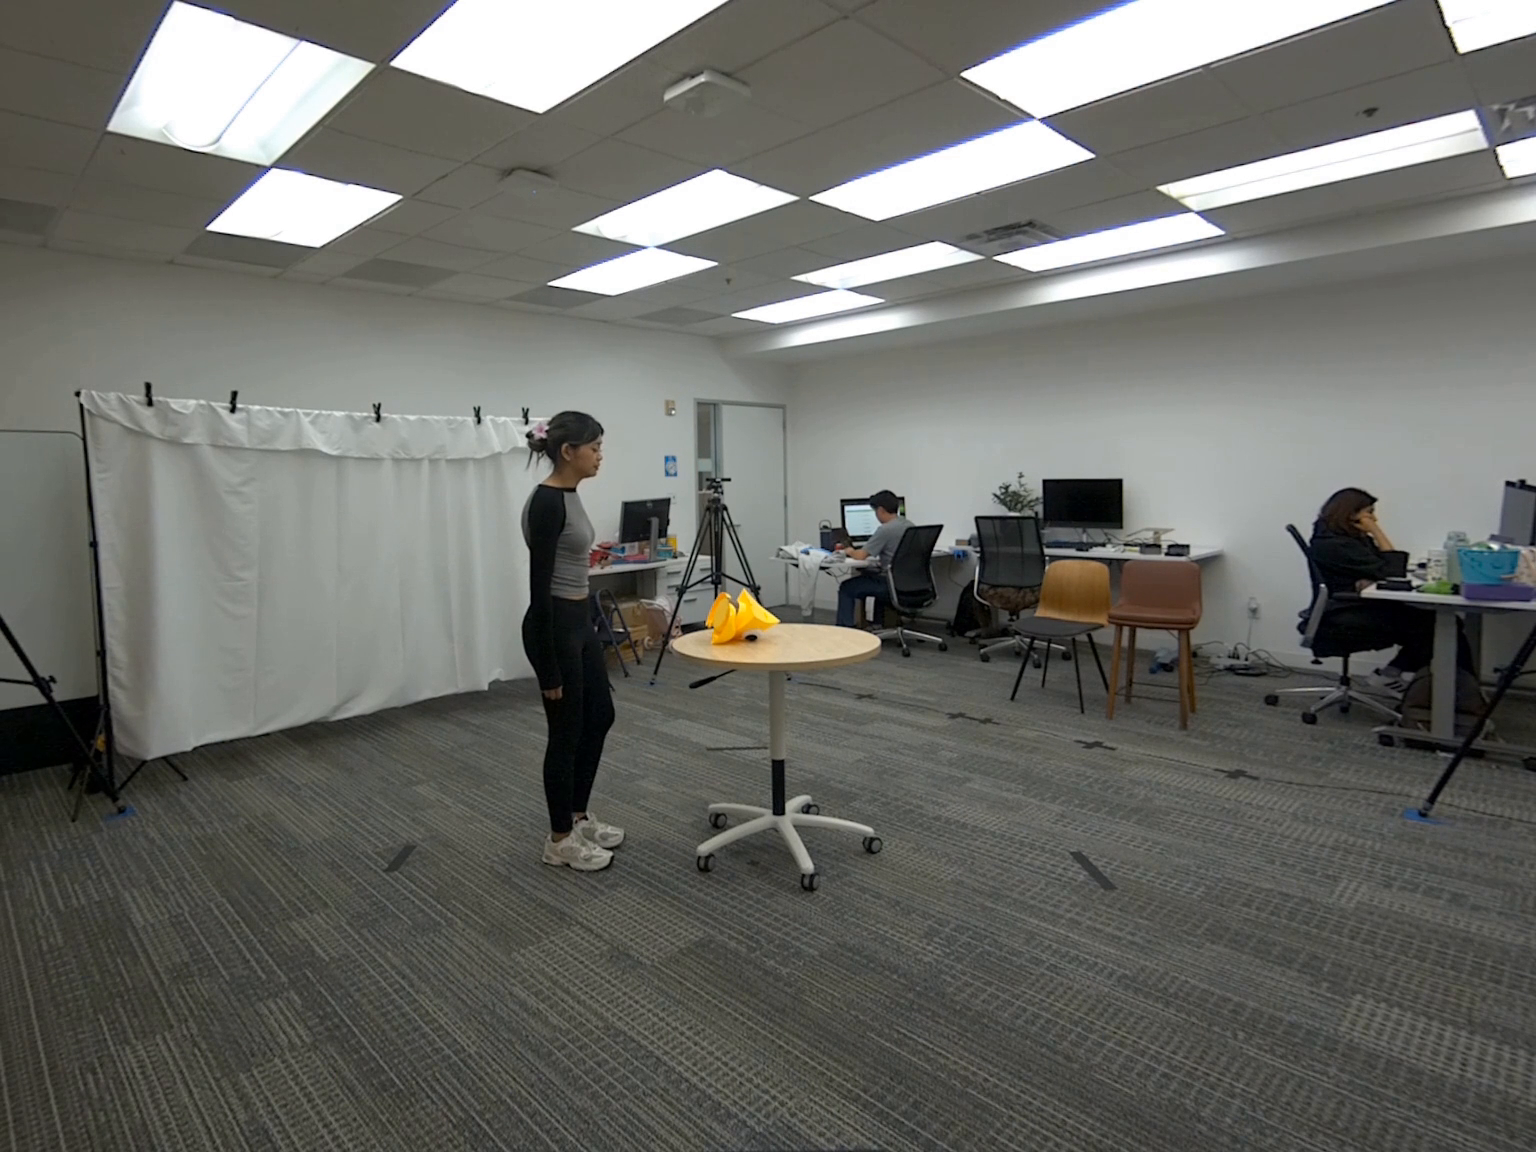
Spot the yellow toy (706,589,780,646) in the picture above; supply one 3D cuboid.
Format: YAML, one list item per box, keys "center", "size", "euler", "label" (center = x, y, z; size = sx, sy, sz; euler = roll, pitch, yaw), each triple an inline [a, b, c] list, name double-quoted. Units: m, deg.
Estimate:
- center: [-0.081, 0.183, 3.192]
  size: [0.225, 0.192, 0.211]
  euler: [21, 22, -21]
  label: "yellow toy"
